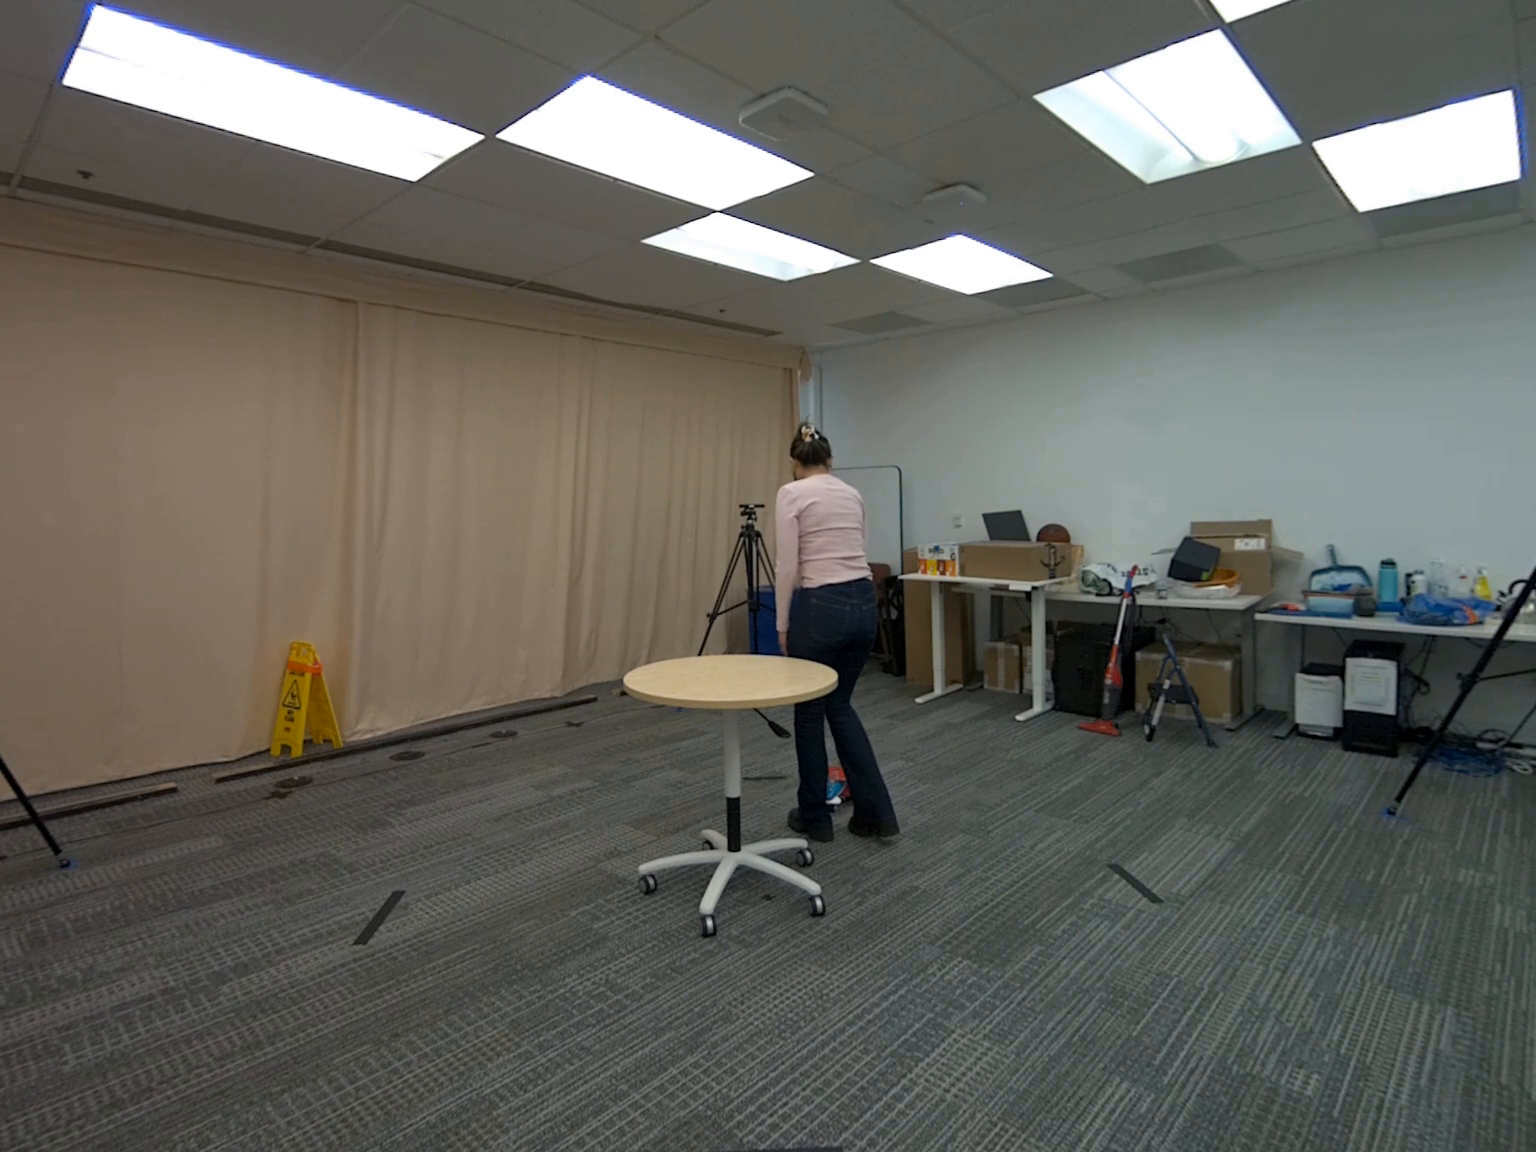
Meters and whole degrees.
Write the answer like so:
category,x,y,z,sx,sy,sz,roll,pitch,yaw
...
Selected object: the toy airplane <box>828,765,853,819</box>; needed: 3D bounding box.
category,x,y,z,sx,sy,sz,roll,pitch,yaw
toy airplane,0.329,0.982,3.879,0.250,0.156,0.261,-1,3,-5
